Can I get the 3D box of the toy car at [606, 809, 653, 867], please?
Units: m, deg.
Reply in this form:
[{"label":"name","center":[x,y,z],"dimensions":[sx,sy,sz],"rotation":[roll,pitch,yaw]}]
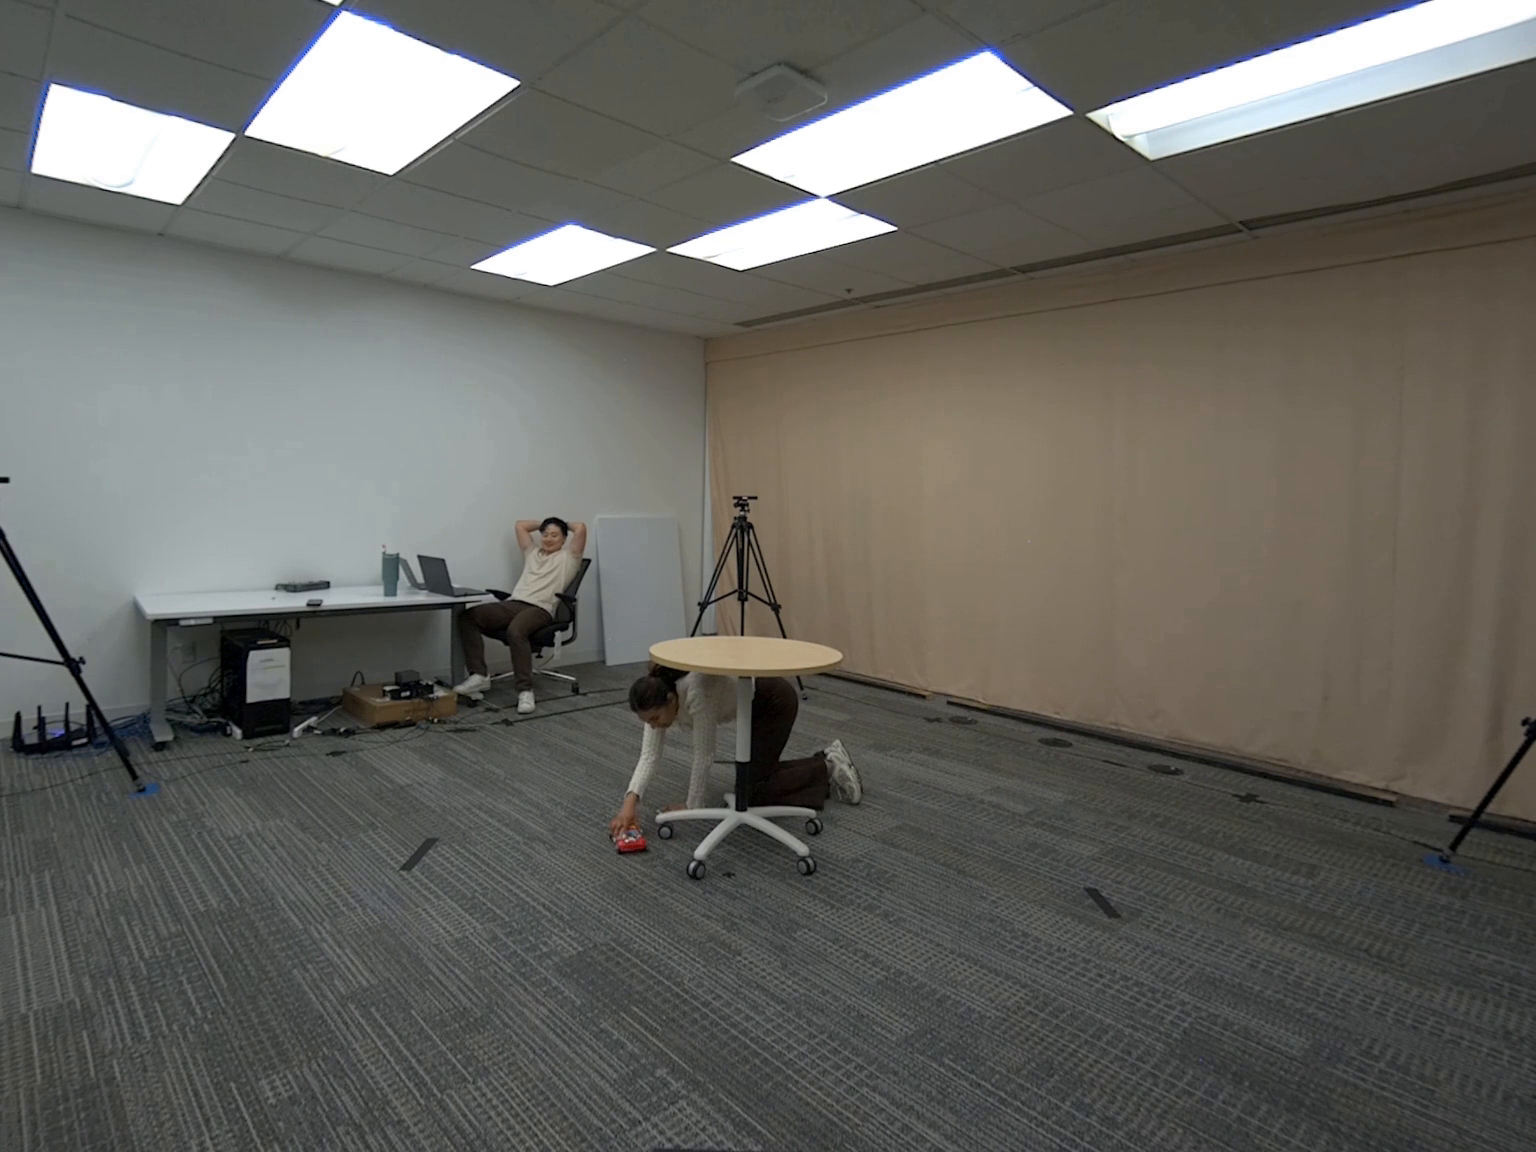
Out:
[{"label":"toy car","center":[-0.557,1.036,3.371],"dimensions":[0.128,0.082,0.260],"rotation":[0,14,-20]}]
